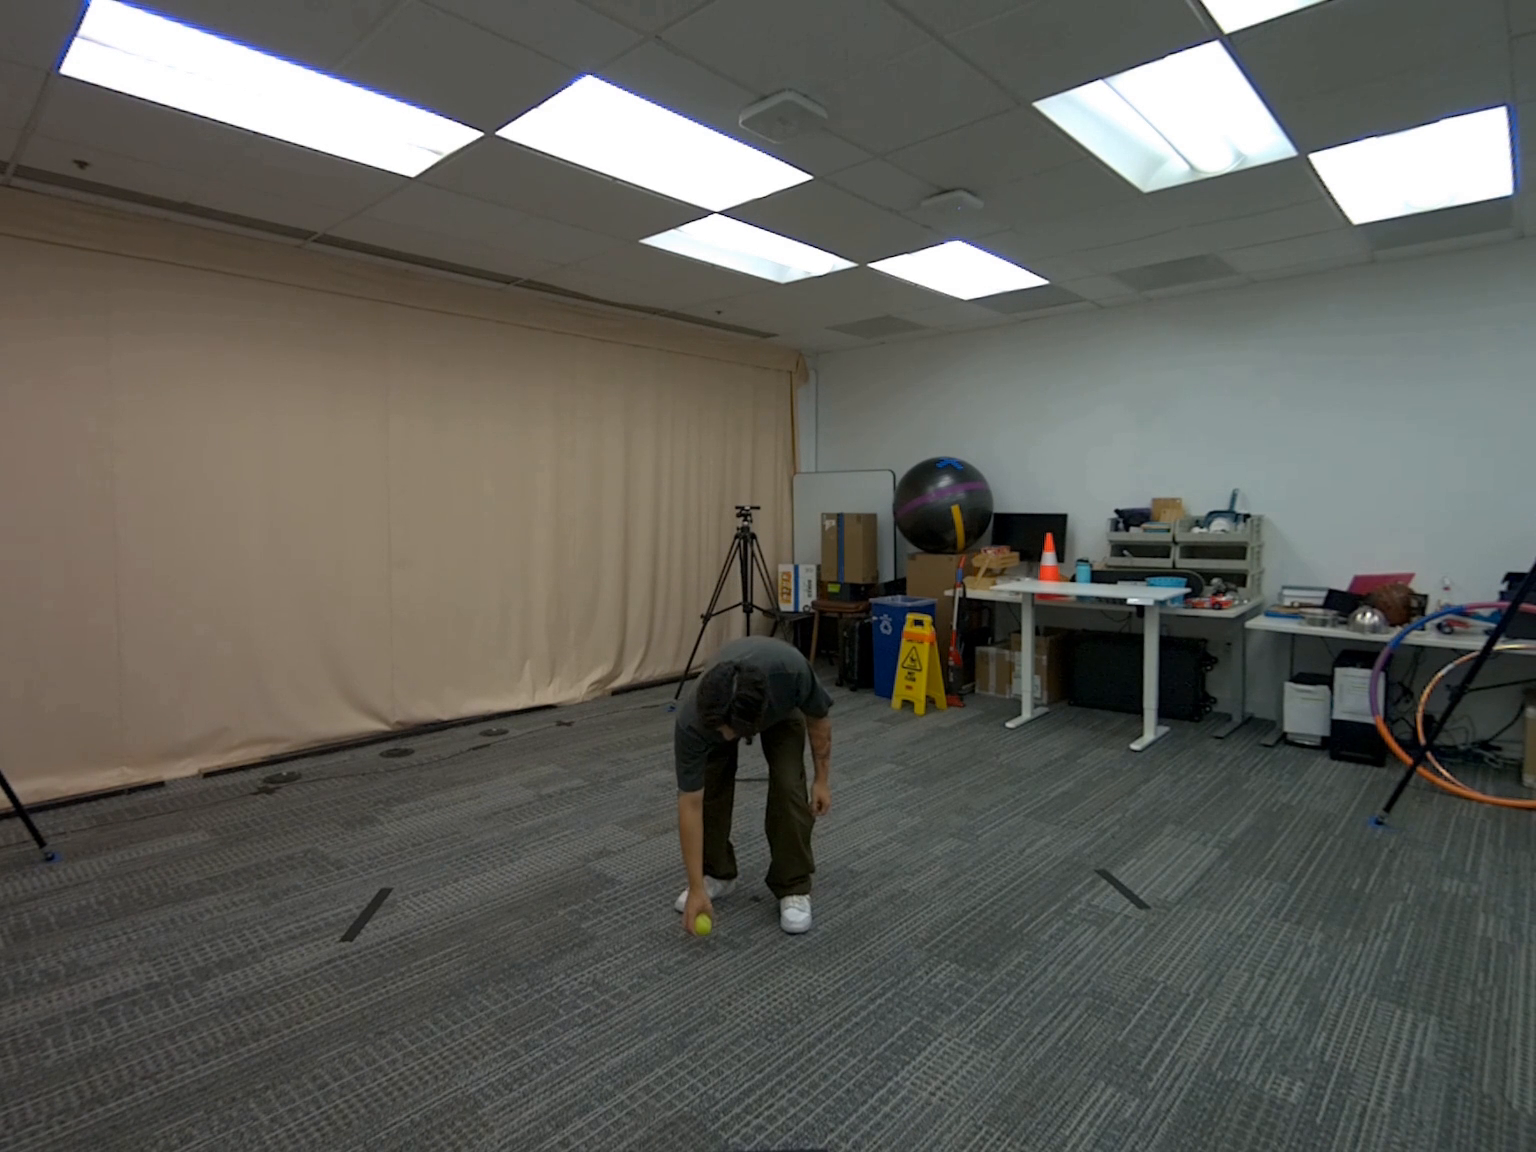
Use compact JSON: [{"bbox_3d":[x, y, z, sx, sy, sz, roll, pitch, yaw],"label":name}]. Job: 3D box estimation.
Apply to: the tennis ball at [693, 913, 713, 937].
[{"bbox_3d":[-0.211,1.086,2.658,0.066,0.066,0.067,0,4,-2],"label":"tennis ball"}]
